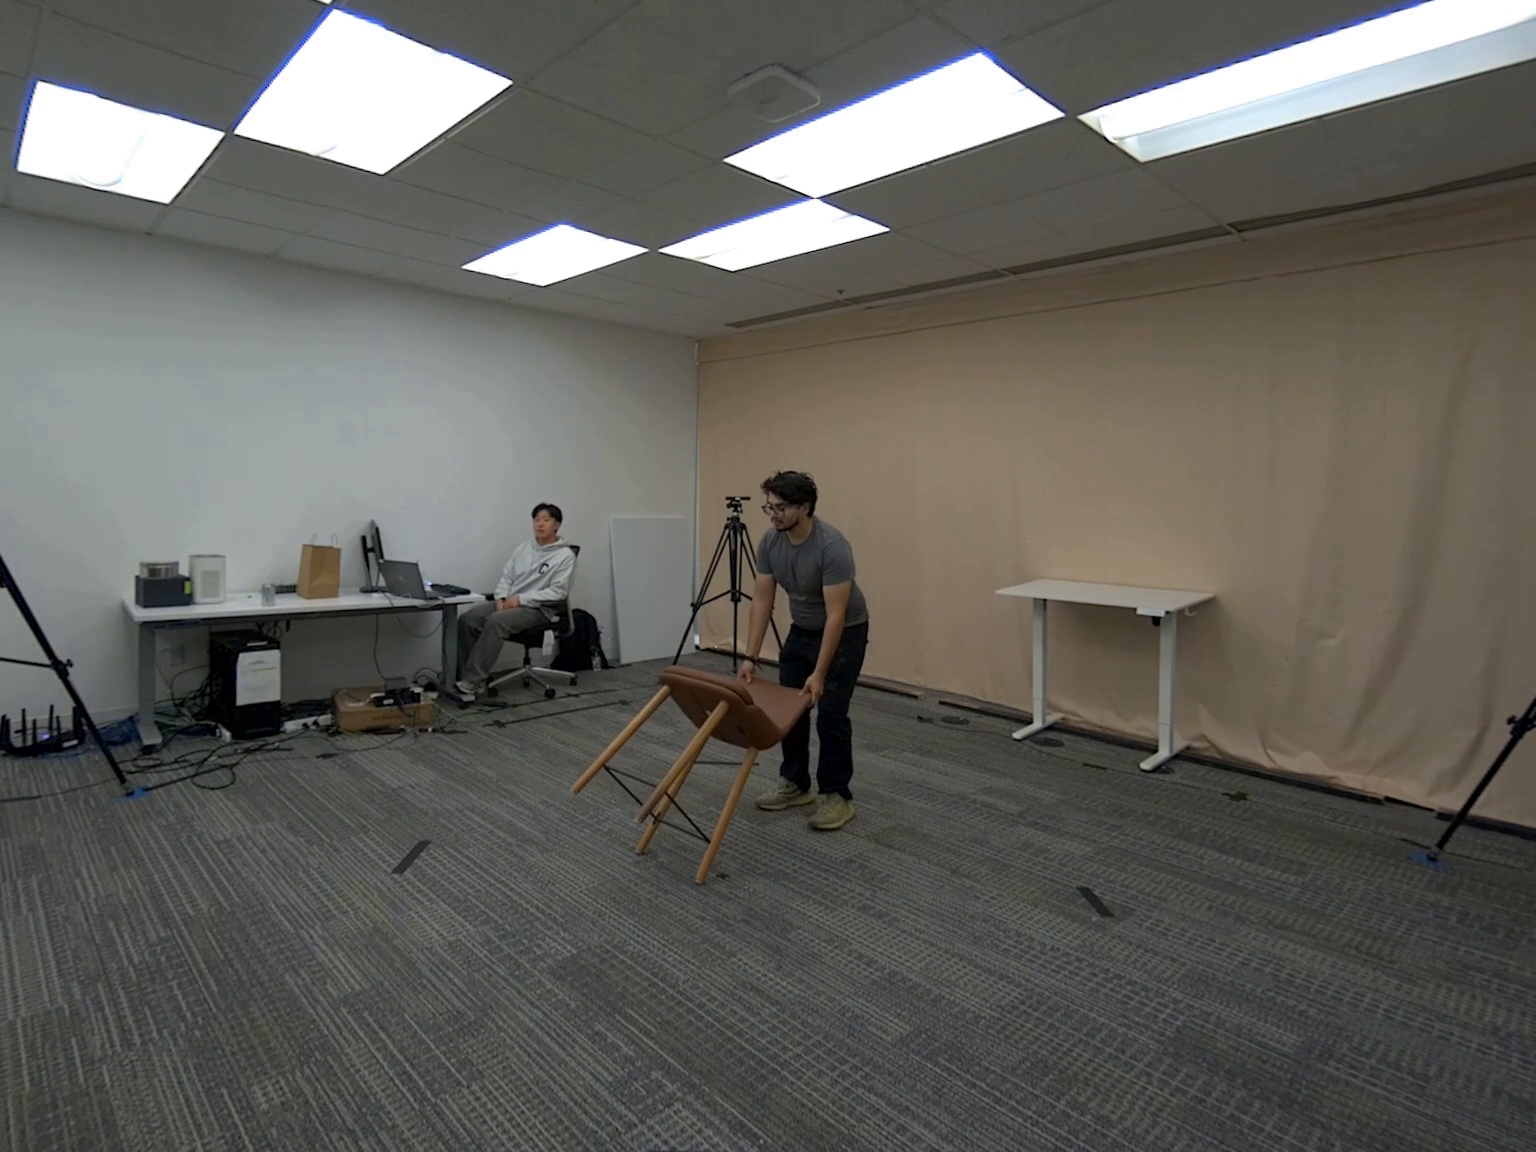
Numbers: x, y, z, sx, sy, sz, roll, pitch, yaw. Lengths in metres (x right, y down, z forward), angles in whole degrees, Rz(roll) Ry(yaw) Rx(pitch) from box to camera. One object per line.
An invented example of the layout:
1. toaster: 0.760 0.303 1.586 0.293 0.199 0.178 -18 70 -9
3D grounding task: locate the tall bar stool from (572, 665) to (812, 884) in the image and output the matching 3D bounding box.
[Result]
1. tall bar stool: -0.256 0.634 3.250 0.468 0.455 0.892 4 47 44
